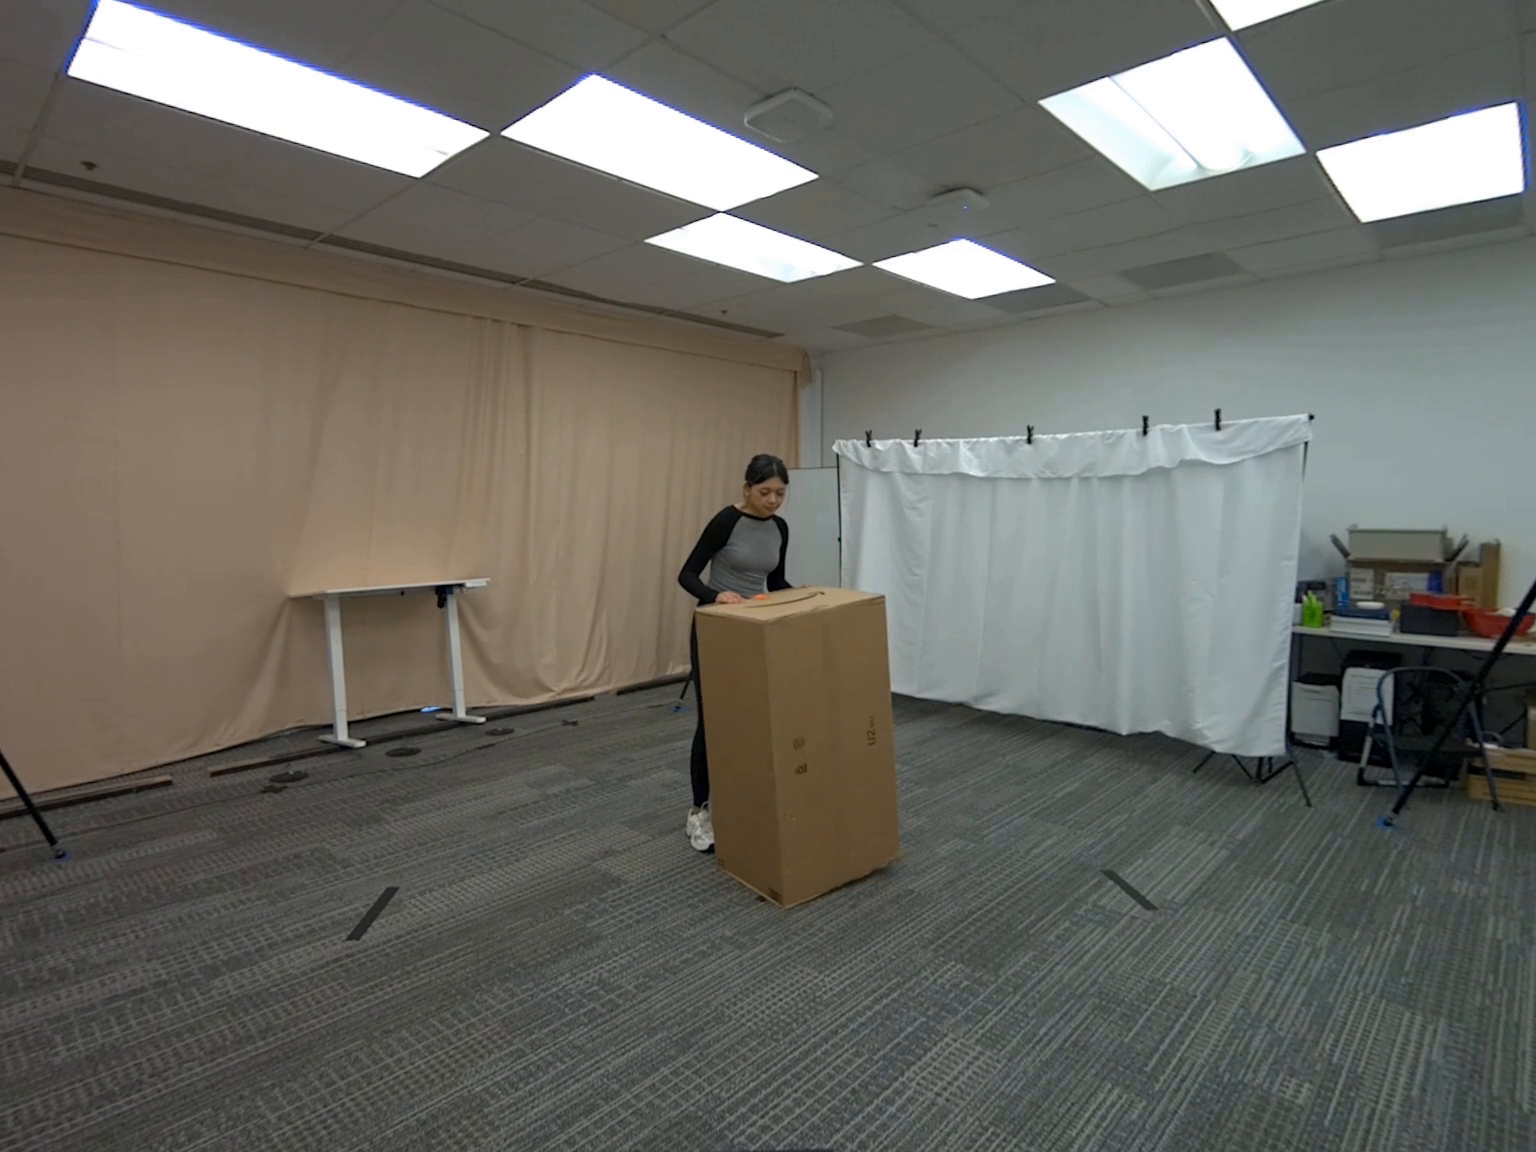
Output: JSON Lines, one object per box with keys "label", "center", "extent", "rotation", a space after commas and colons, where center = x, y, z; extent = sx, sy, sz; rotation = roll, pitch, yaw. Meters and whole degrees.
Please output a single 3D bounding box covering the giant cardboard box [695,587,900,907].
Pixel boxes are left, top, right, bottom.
{"label": "giant cardboard box", "center": [0.119, 0.601, 3.177], "extent": [0.568, 1.022, 0.461], "rotation": [-9, 9, -36]}
